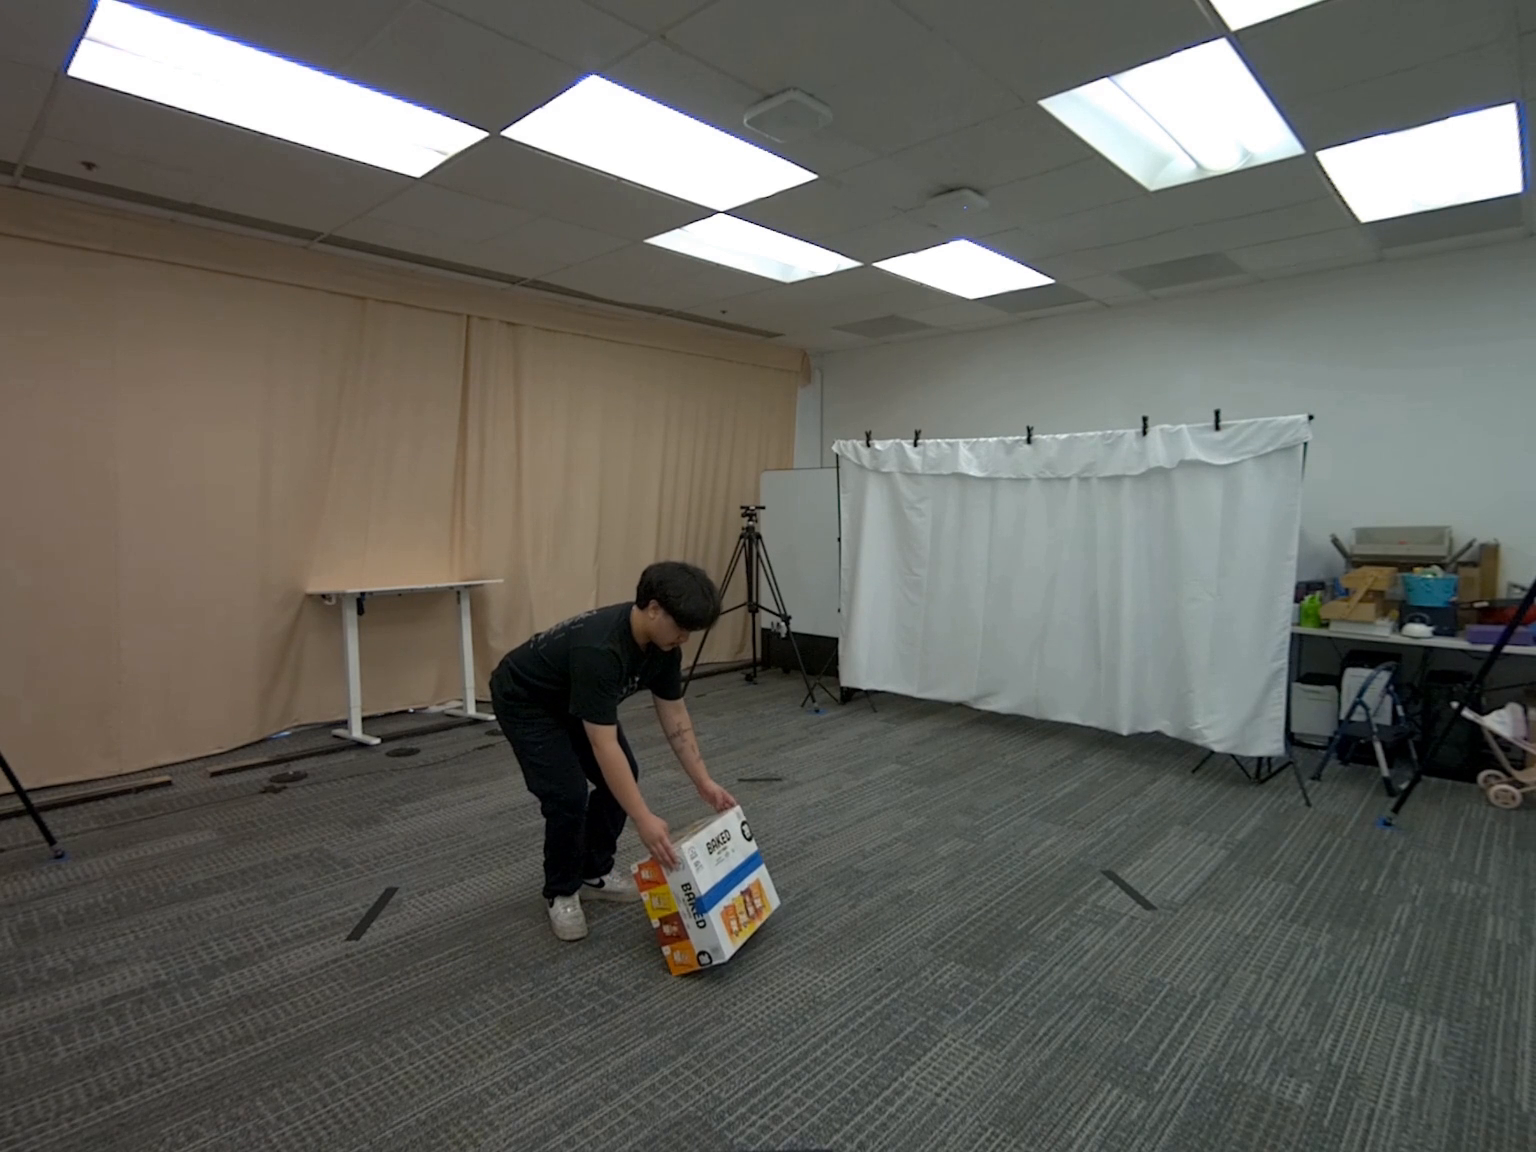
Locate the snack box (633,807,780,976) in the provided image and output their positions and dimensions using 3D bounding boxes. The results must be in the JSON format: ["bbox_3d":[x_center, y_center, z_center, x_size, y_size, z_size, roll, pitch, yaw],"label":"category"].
[{"bbox_3d":[-0.187,0.980,2.659,0.209,0.343,0.395,-28,-9,24],"label":"snack box"}]
